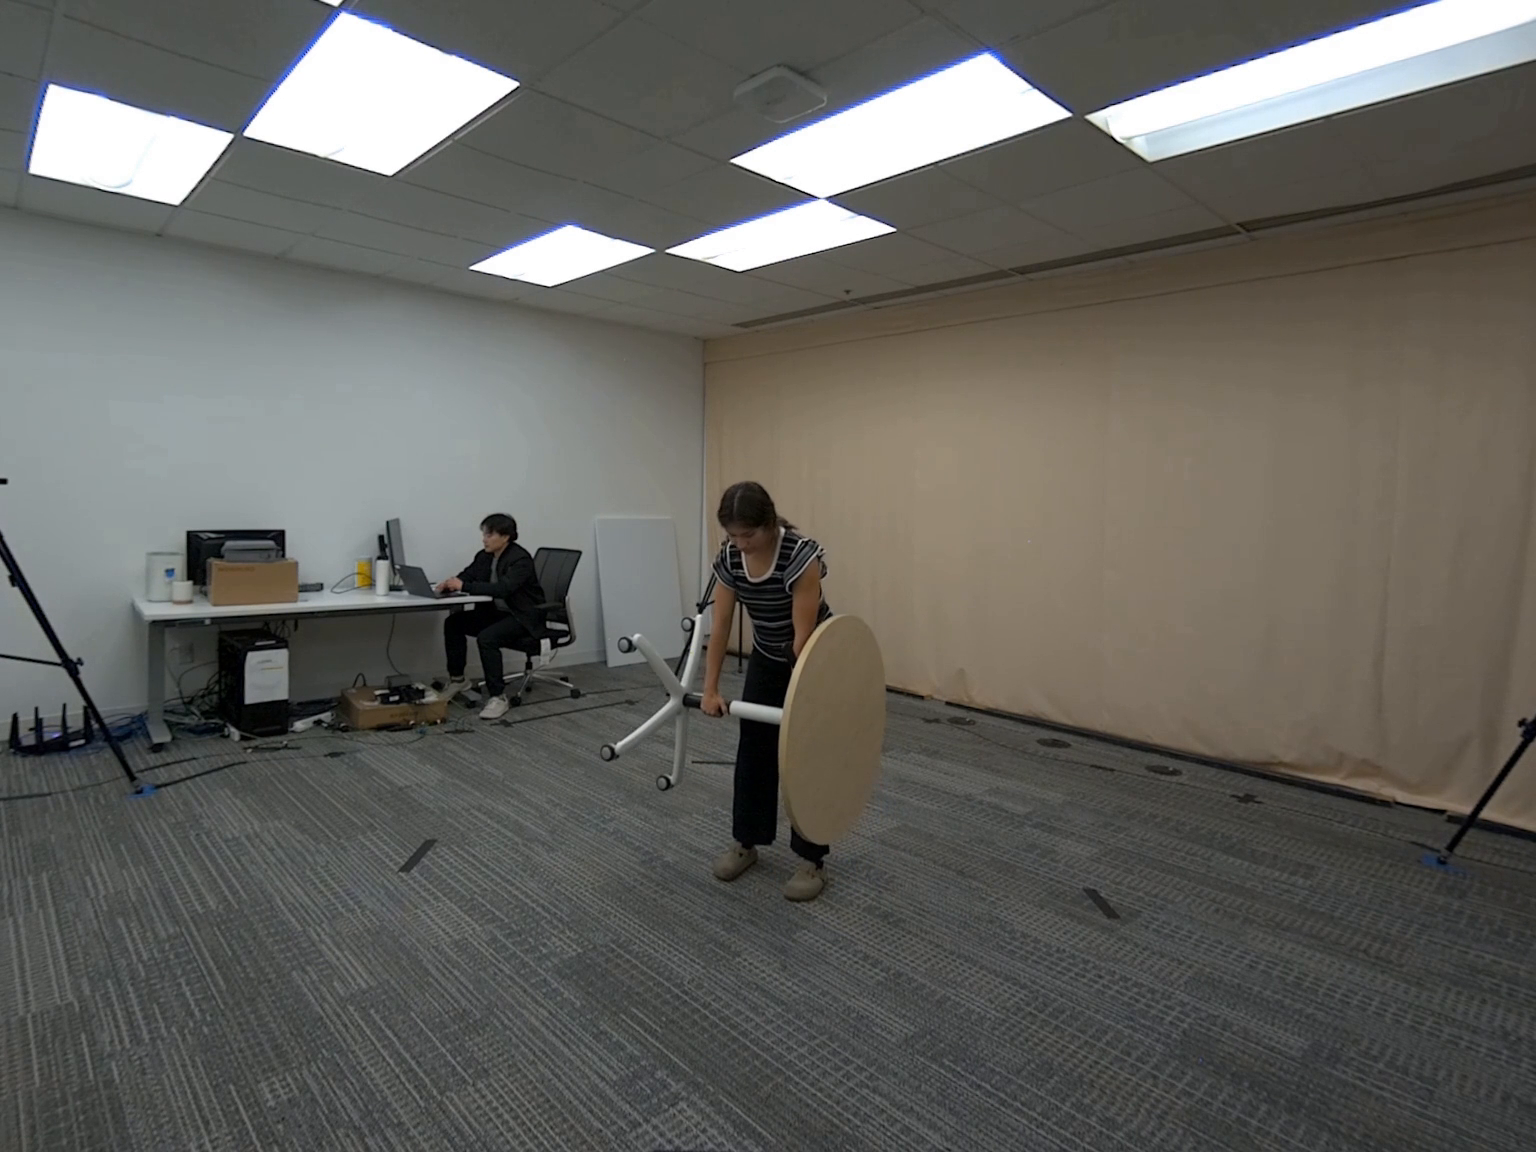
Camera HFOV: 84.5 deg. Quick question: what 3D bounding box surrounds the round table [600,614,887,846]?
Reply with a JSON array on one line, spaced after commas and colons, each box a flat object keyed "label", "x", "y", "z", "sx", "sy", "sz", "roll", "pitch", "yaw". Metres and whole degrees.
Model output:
[{"label": "round table", "x": -0.099, "y": 0.503, "z": 3.073, "sx": 0.812, "sy": 0.762, "sz": 0.748, "roll": 3, "pitch": 4, "yaw": 33}]
